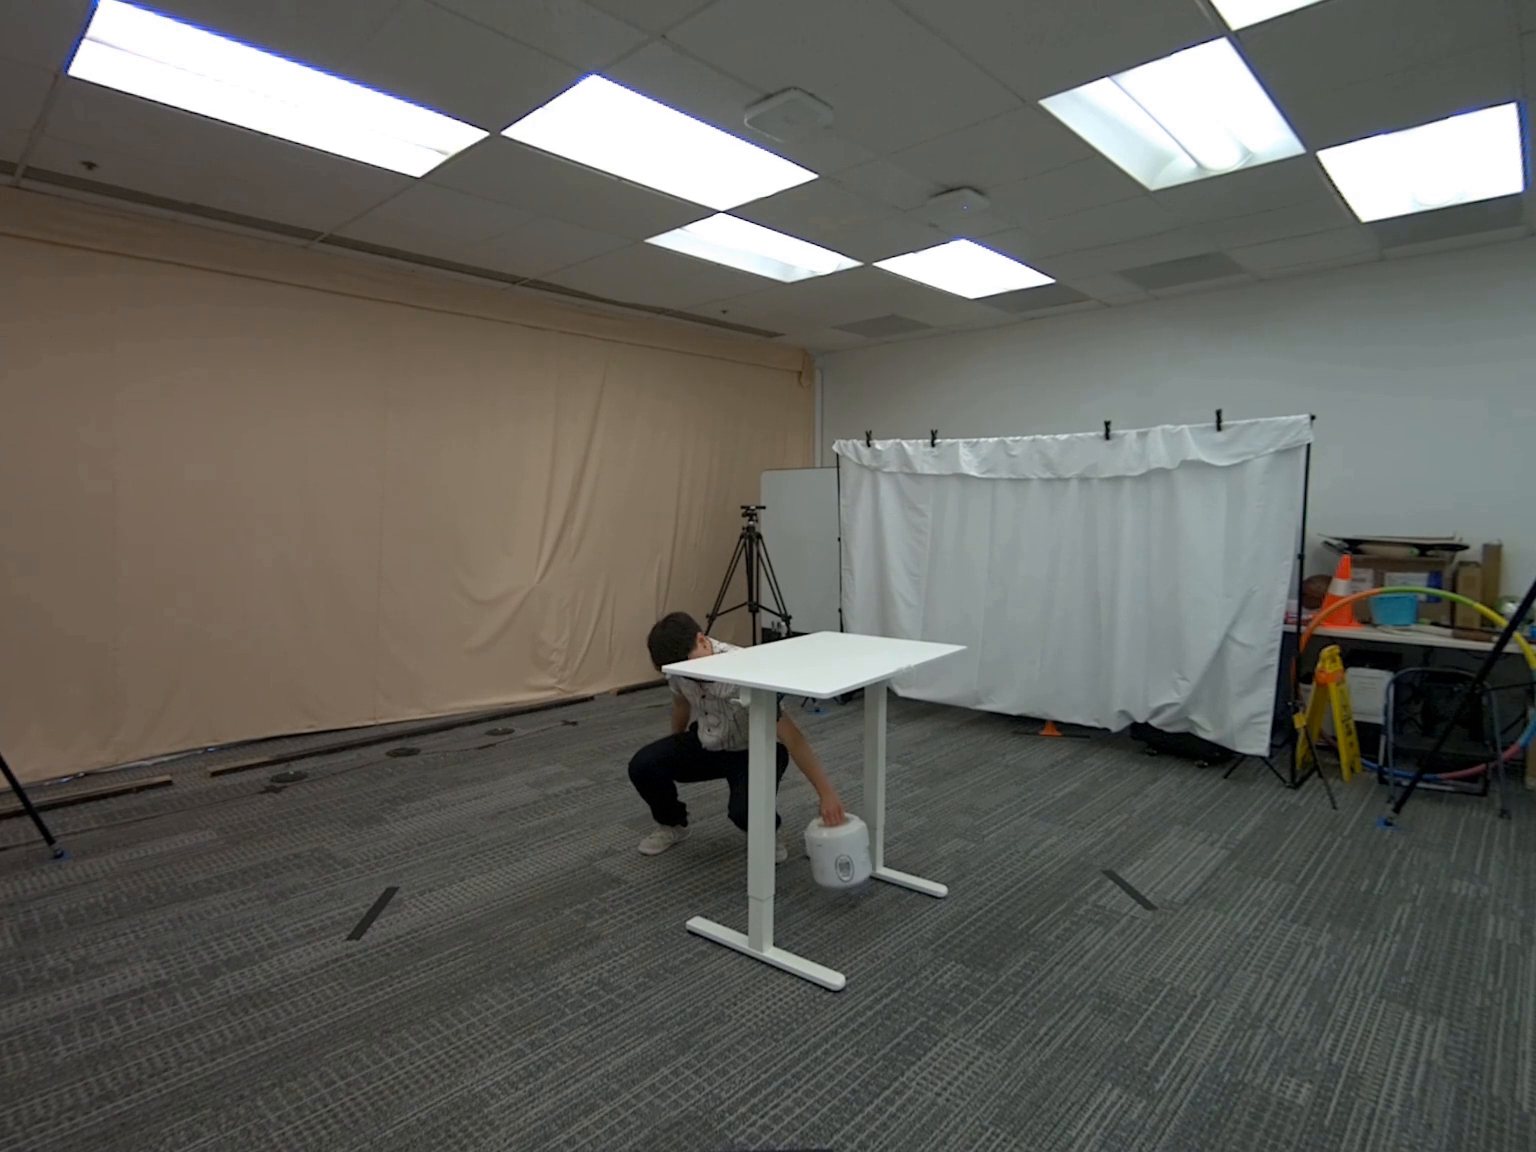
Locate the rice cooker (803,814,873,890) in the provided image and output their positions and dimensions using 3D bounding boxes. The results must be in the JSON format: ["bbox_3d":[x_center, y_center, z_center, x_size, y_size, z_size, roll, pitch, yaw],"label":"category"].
[{"bbox_3d":[0.241,0.935,2.914,0.221,0.233,0.217,-10,-1,0],"label":"rice cooker"}]
